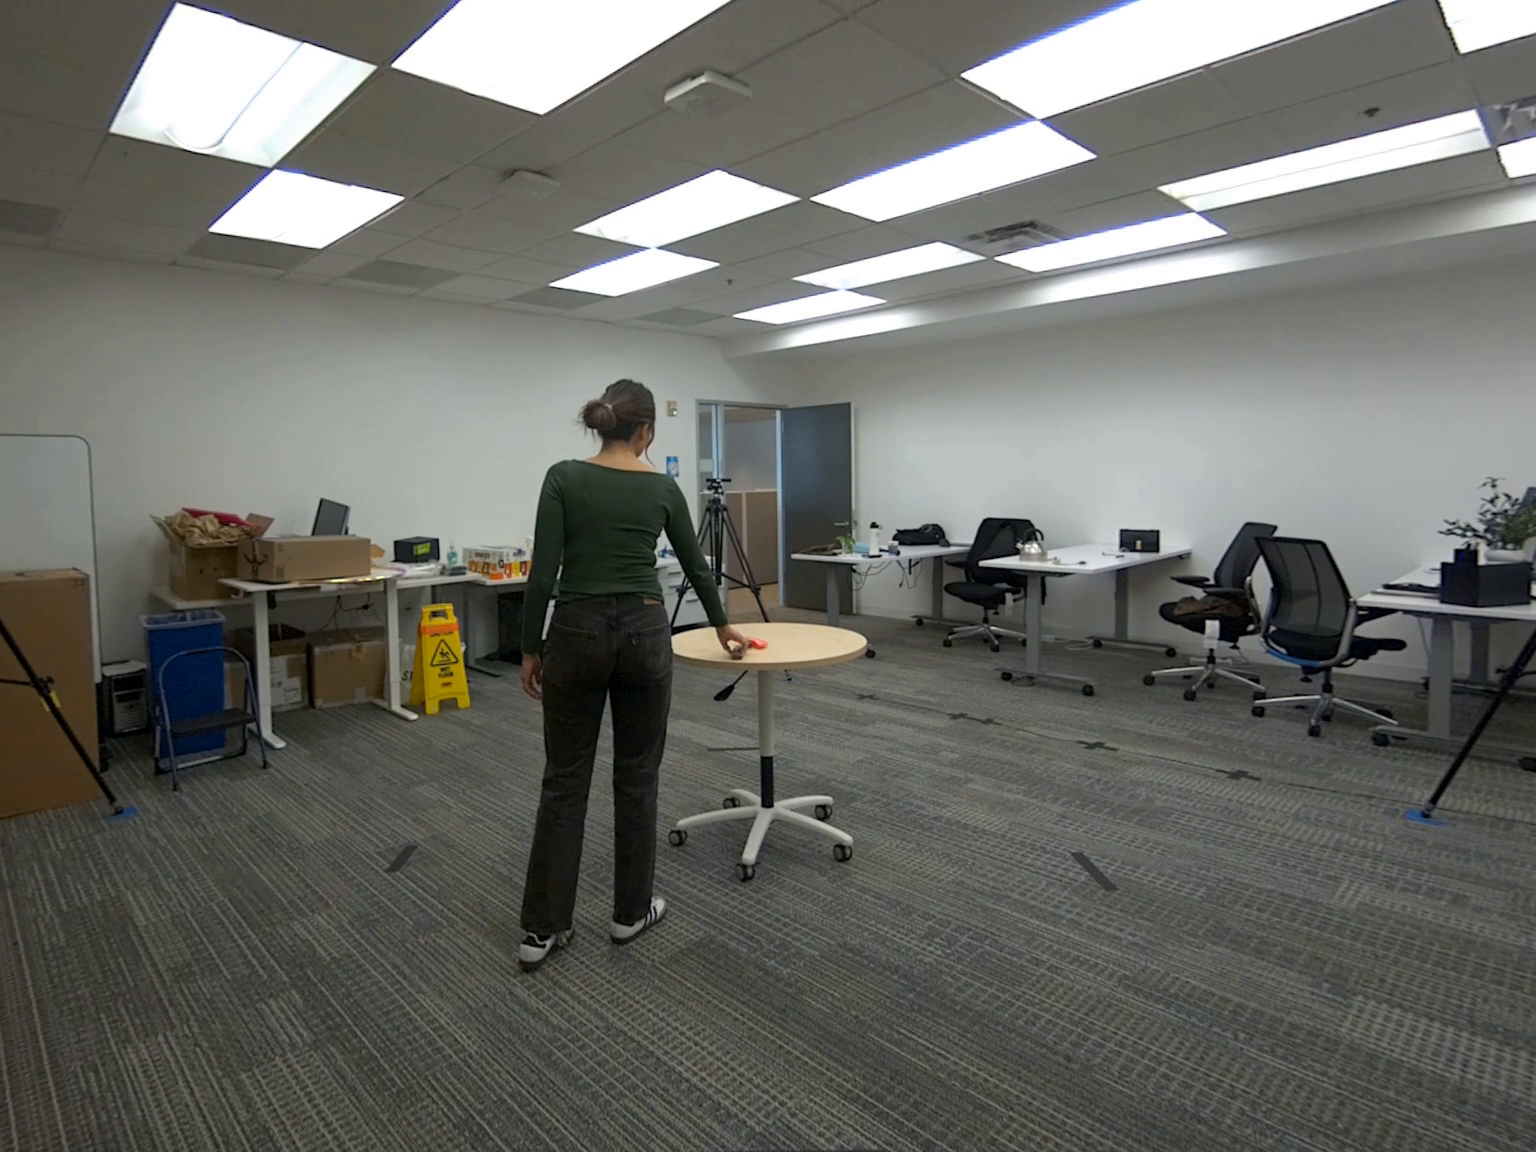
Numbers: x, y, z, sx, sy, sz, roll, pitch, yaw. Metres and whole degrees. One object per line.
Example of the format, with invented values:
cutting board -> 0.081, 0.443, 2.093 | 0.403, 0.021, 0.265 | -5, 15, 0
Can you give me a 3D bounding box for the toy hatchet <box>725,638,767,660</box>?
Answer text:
toy hatchet -> -0.058, 0.255, 3.036 | 0.131, 0.029, 0.272 | 3, 7, -4
